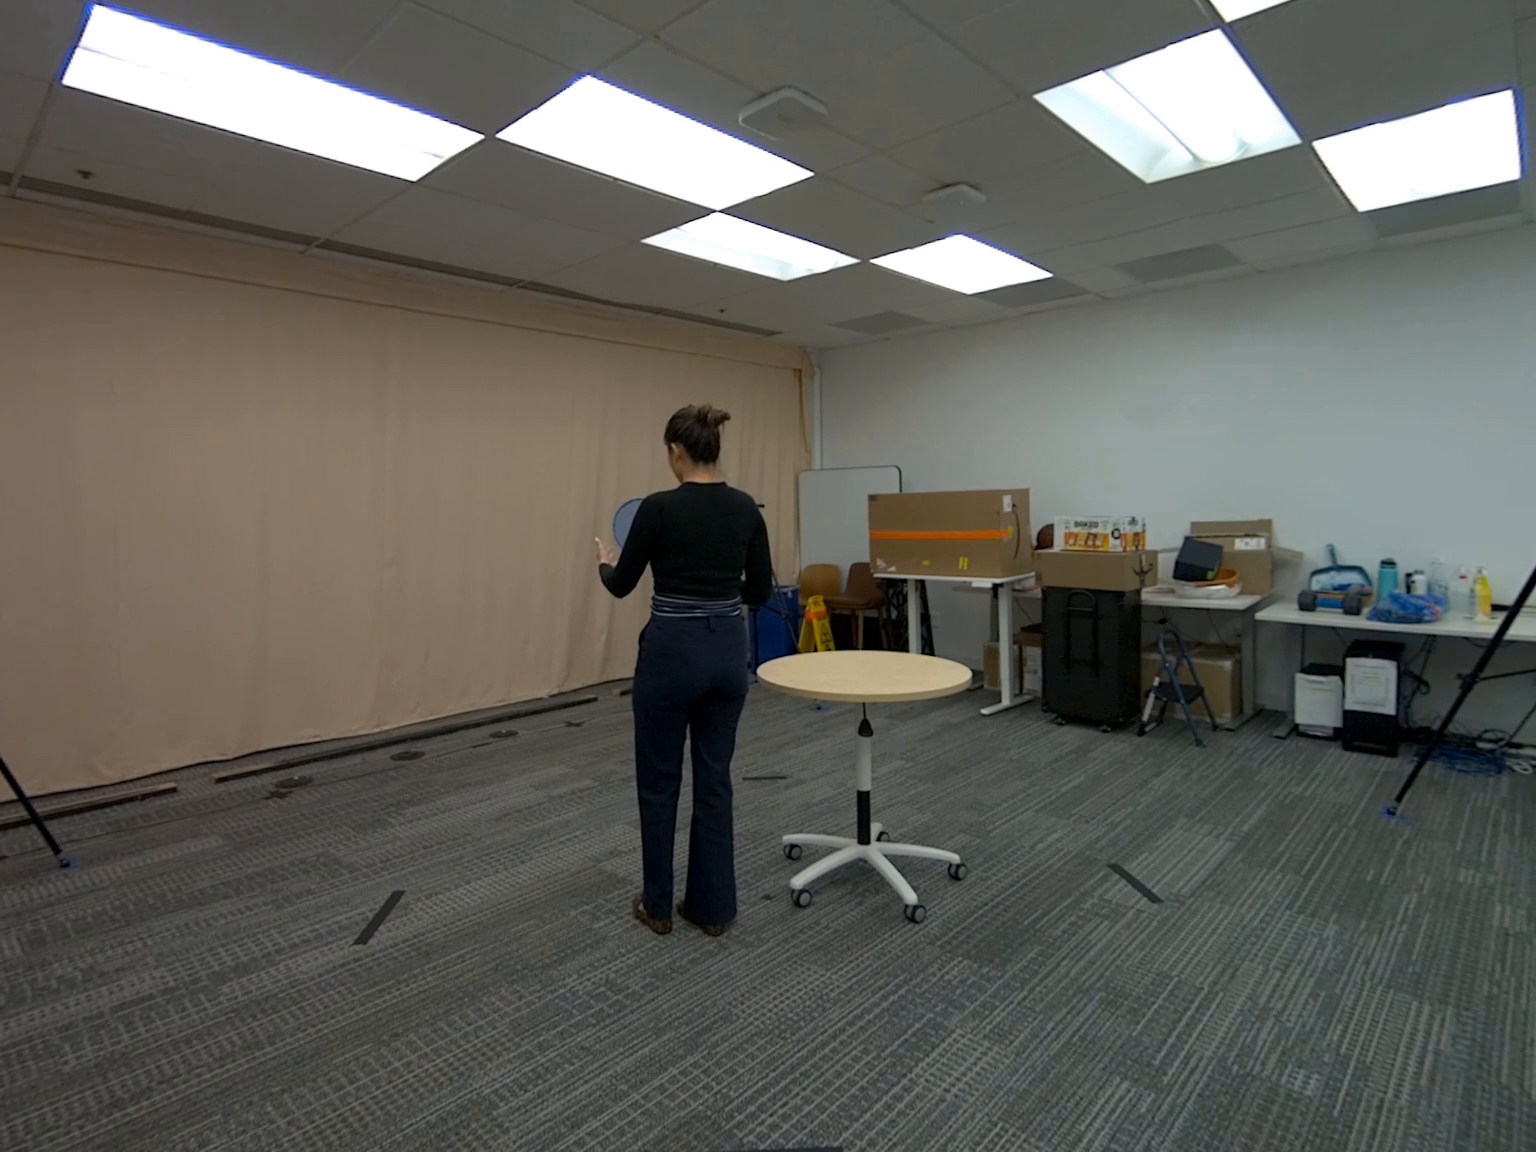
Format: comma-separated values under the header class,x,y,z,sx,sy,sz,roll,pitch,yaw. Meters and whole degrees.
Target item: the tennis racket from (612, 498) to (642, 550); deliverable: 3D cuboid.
class,x,y,z,sx,sy,sz,roll,pitch,yaw
tennis racket,-0.410,-0.104,2.983,0.213,0.445,0.031,-34,-26,-3
